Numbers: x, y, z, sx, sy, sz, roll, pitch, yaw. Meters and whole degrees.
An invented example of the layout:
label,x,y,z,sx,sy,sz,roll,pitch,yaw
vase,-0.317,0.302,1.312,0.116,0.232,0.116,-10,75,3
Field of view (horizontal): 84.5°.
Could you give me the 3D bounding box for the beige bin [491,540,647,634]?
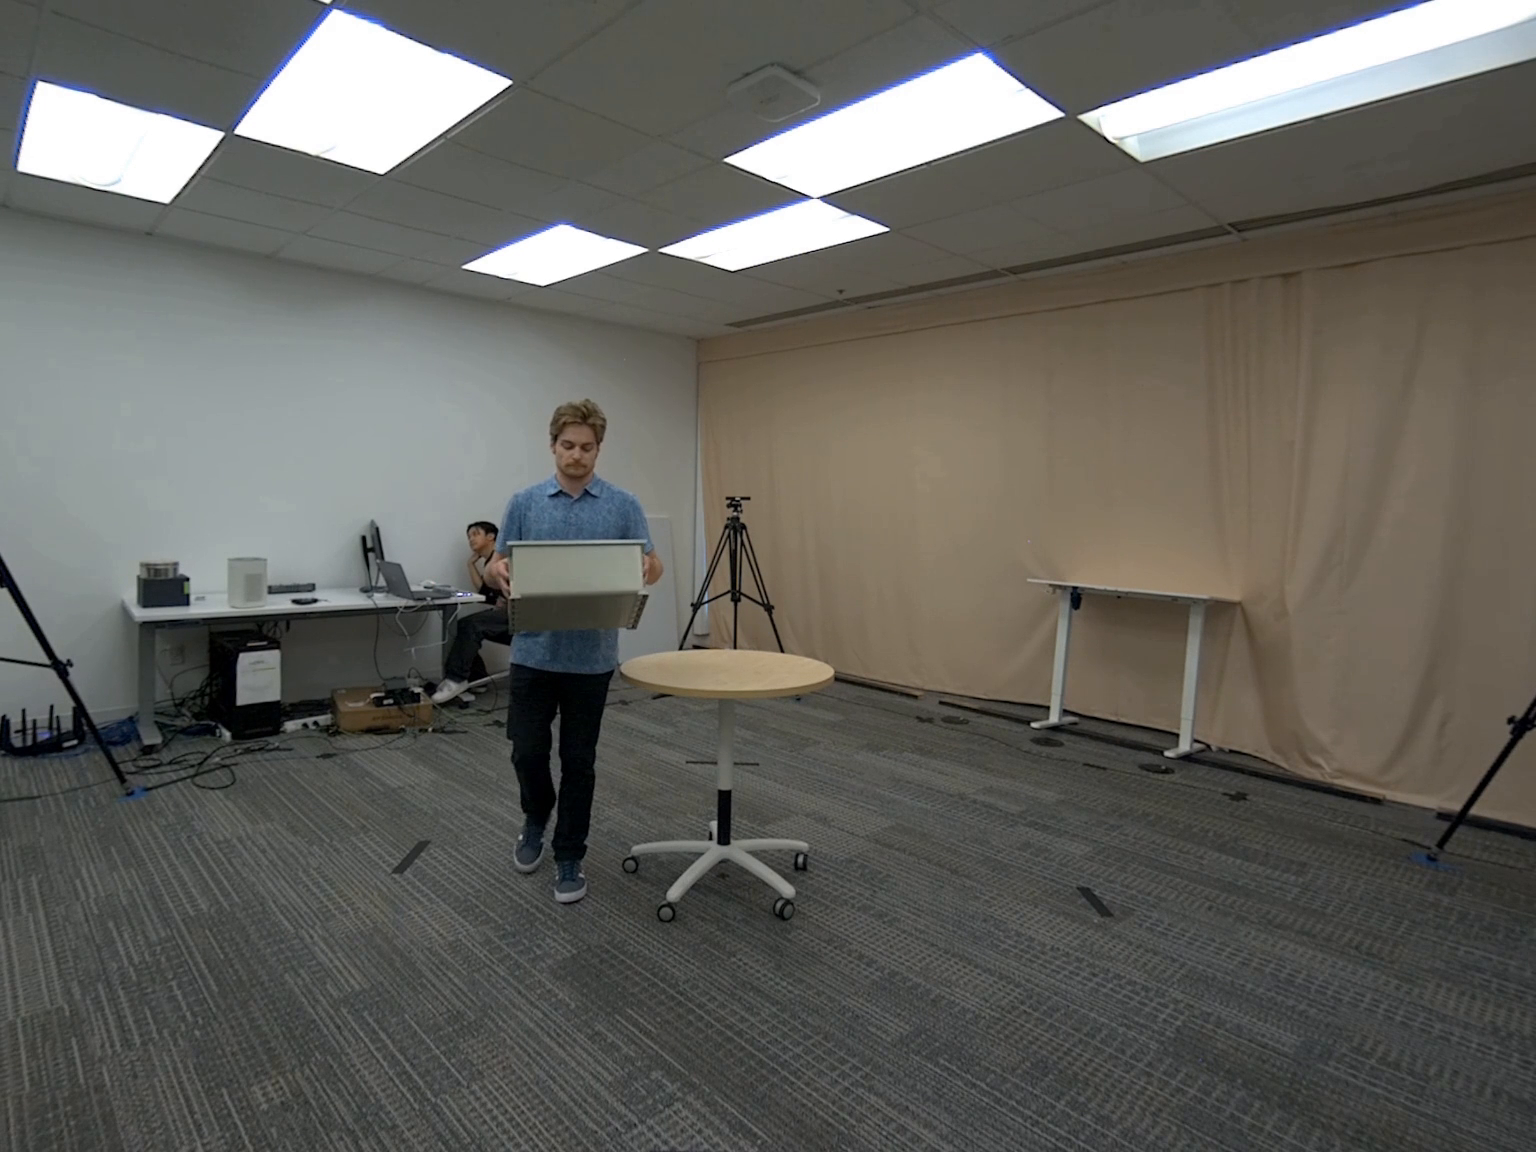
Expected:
label,x,y,z,sx,sy,sz,roll,pitch,yaw
beige bin,-0.632,0.051,2.689,0.417,0.192,0.375,-1,-23,-16
